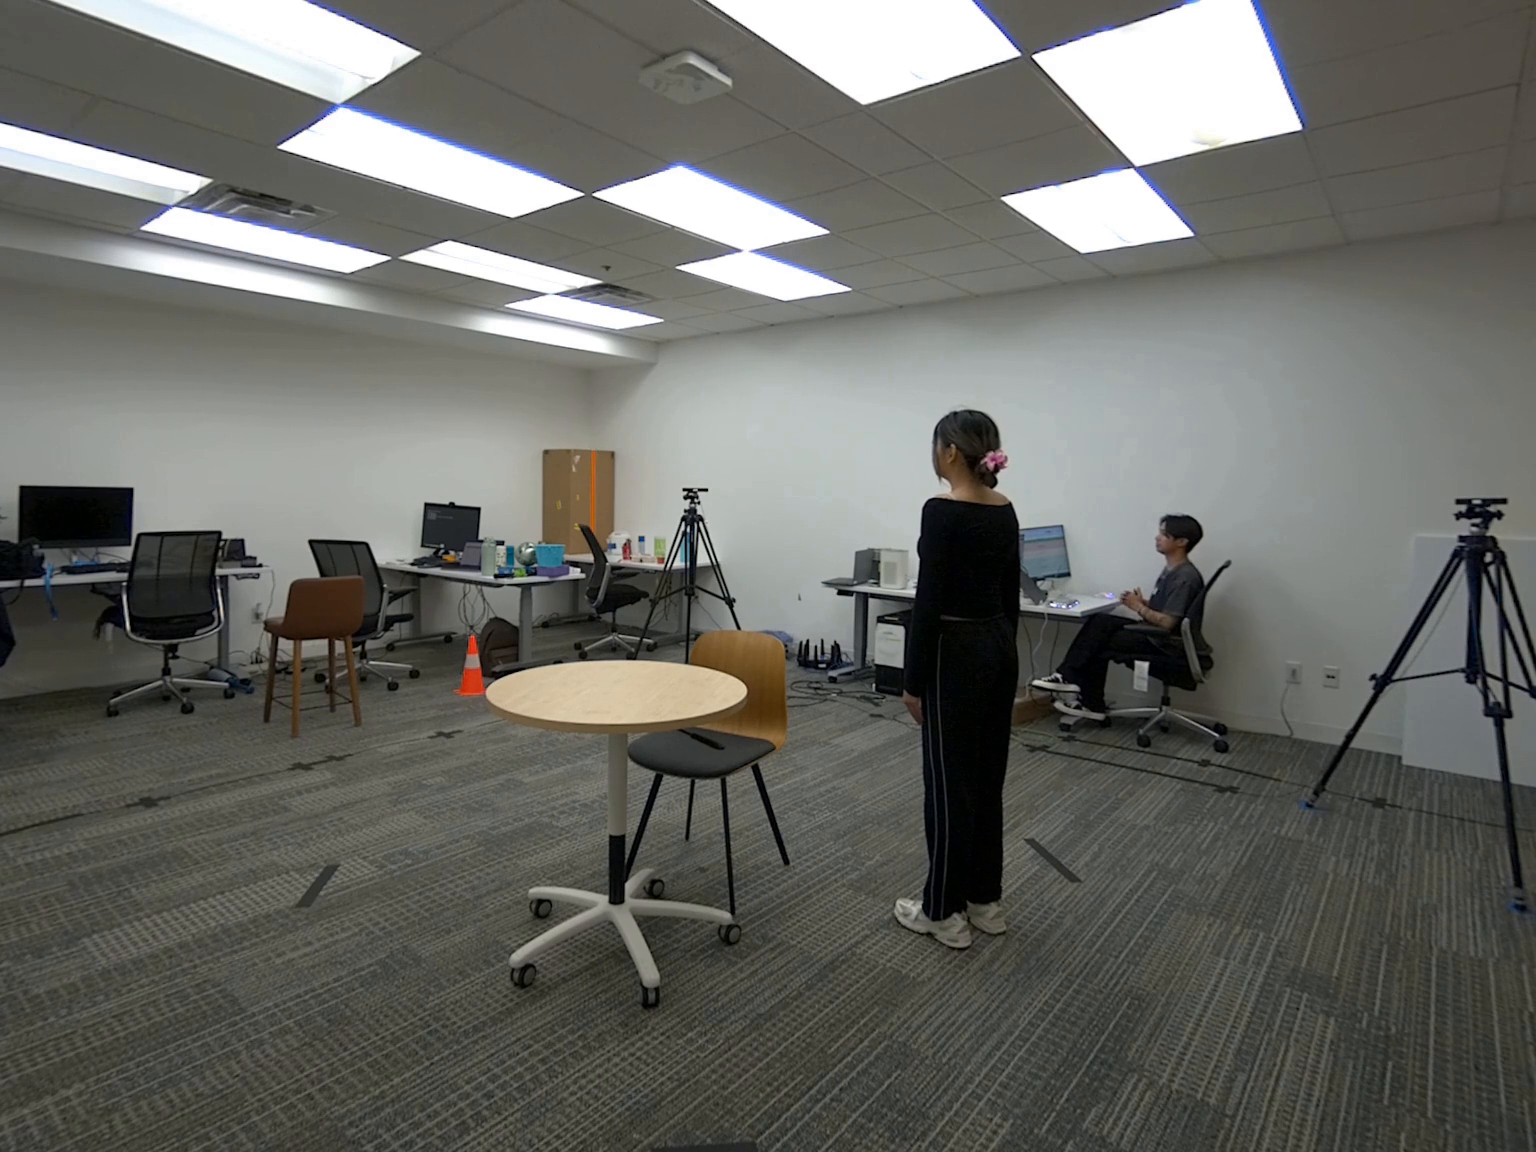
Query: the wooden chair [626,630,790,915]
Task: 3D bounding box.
[{"bbox_3d":[-0.221,0.647,3.044,0.491,0.878,0.508,3,-1,27],"label":"wooden chair"}]
